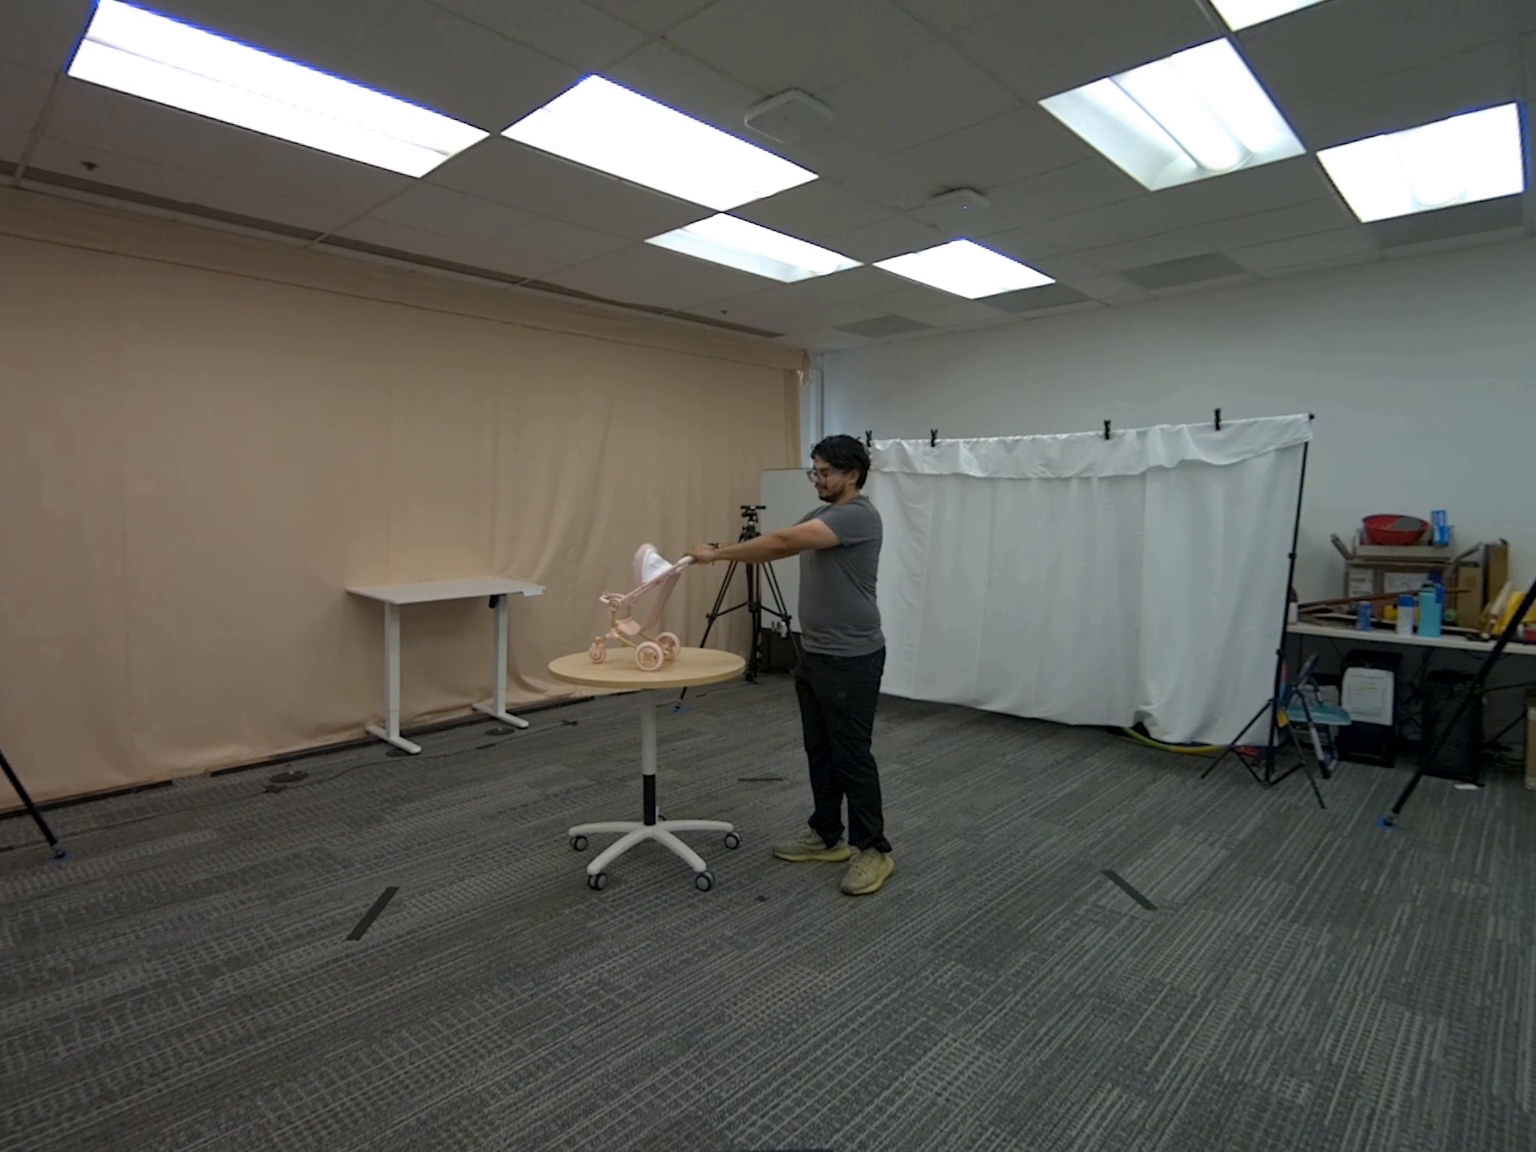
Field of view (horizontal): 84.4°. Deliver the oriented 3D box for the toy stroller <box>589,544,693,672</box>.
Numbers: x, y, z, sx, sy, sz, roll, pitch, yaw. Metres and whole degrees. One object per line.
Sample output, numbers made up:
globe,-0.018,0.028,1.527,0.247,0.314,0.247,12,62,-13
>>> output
toy stroller,-0.484,0.121,3.238,0.348,0.533,0.277,16,7,14
